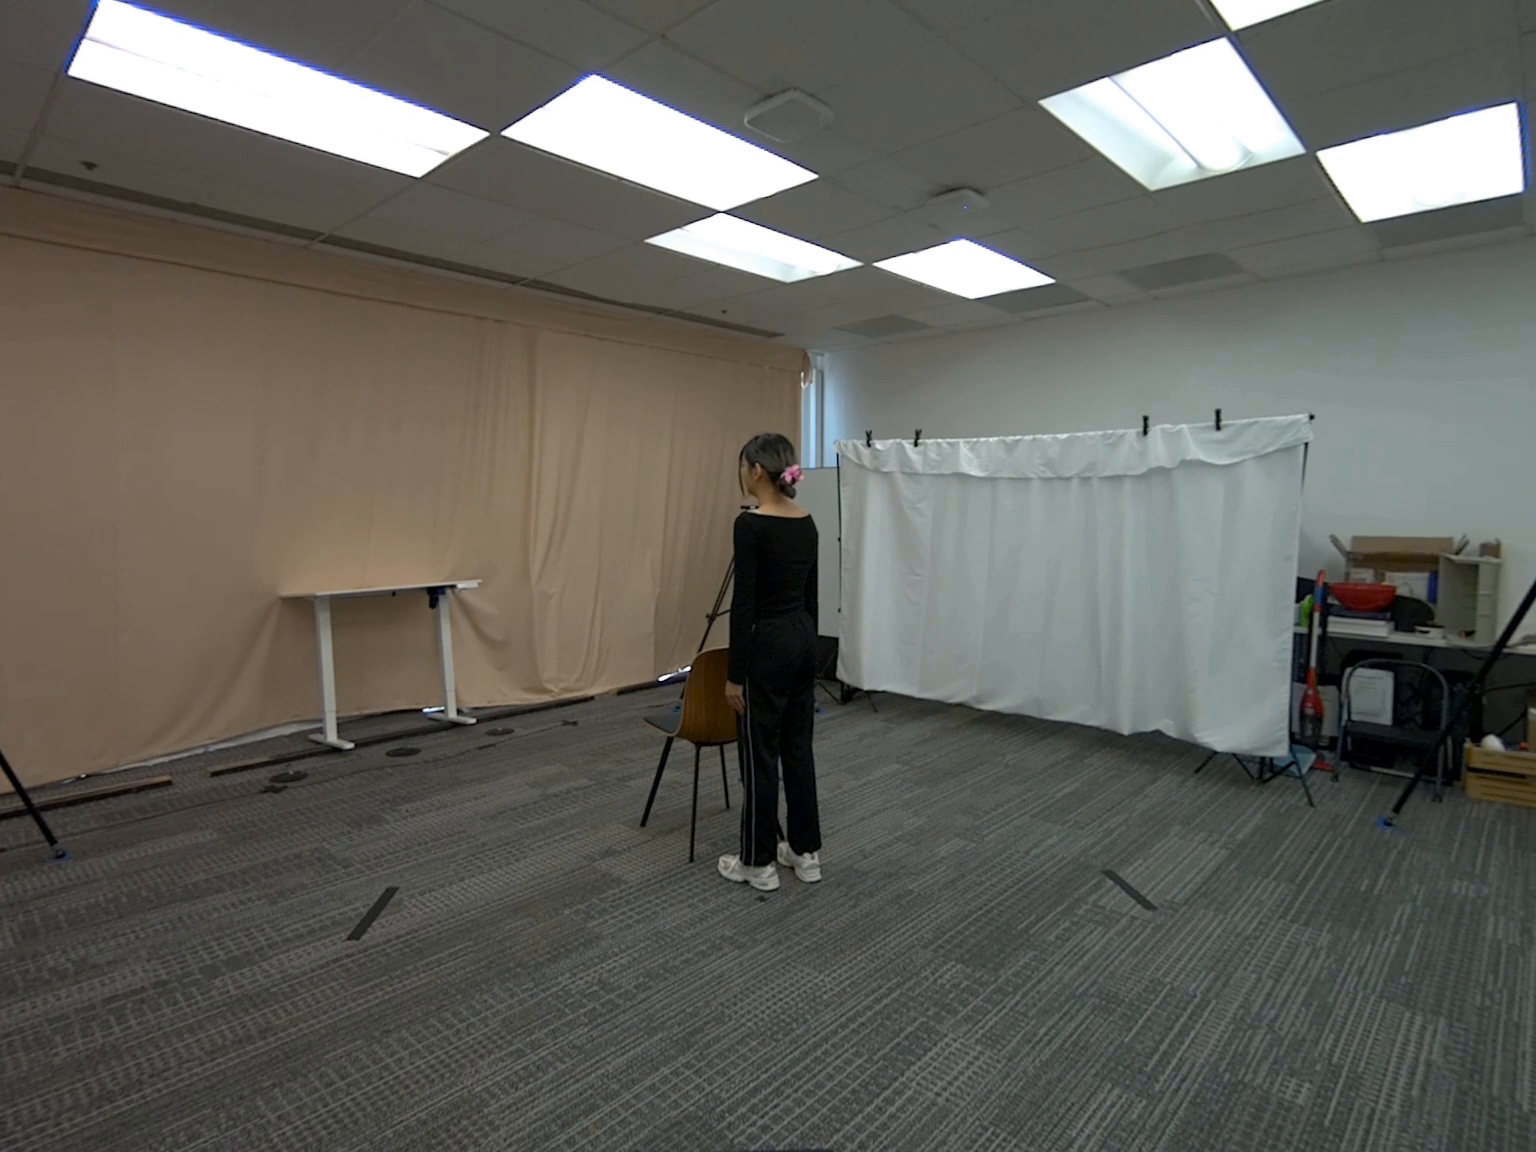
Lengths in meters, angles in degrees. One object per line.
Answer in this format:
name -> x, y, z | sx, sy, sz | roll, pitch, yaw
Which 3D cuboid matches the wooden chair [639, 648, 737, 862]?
wooden chair -> -0.256, 0.672, 3.573 | 0.465, 0.874, 0.540 | -2, 8, -32
